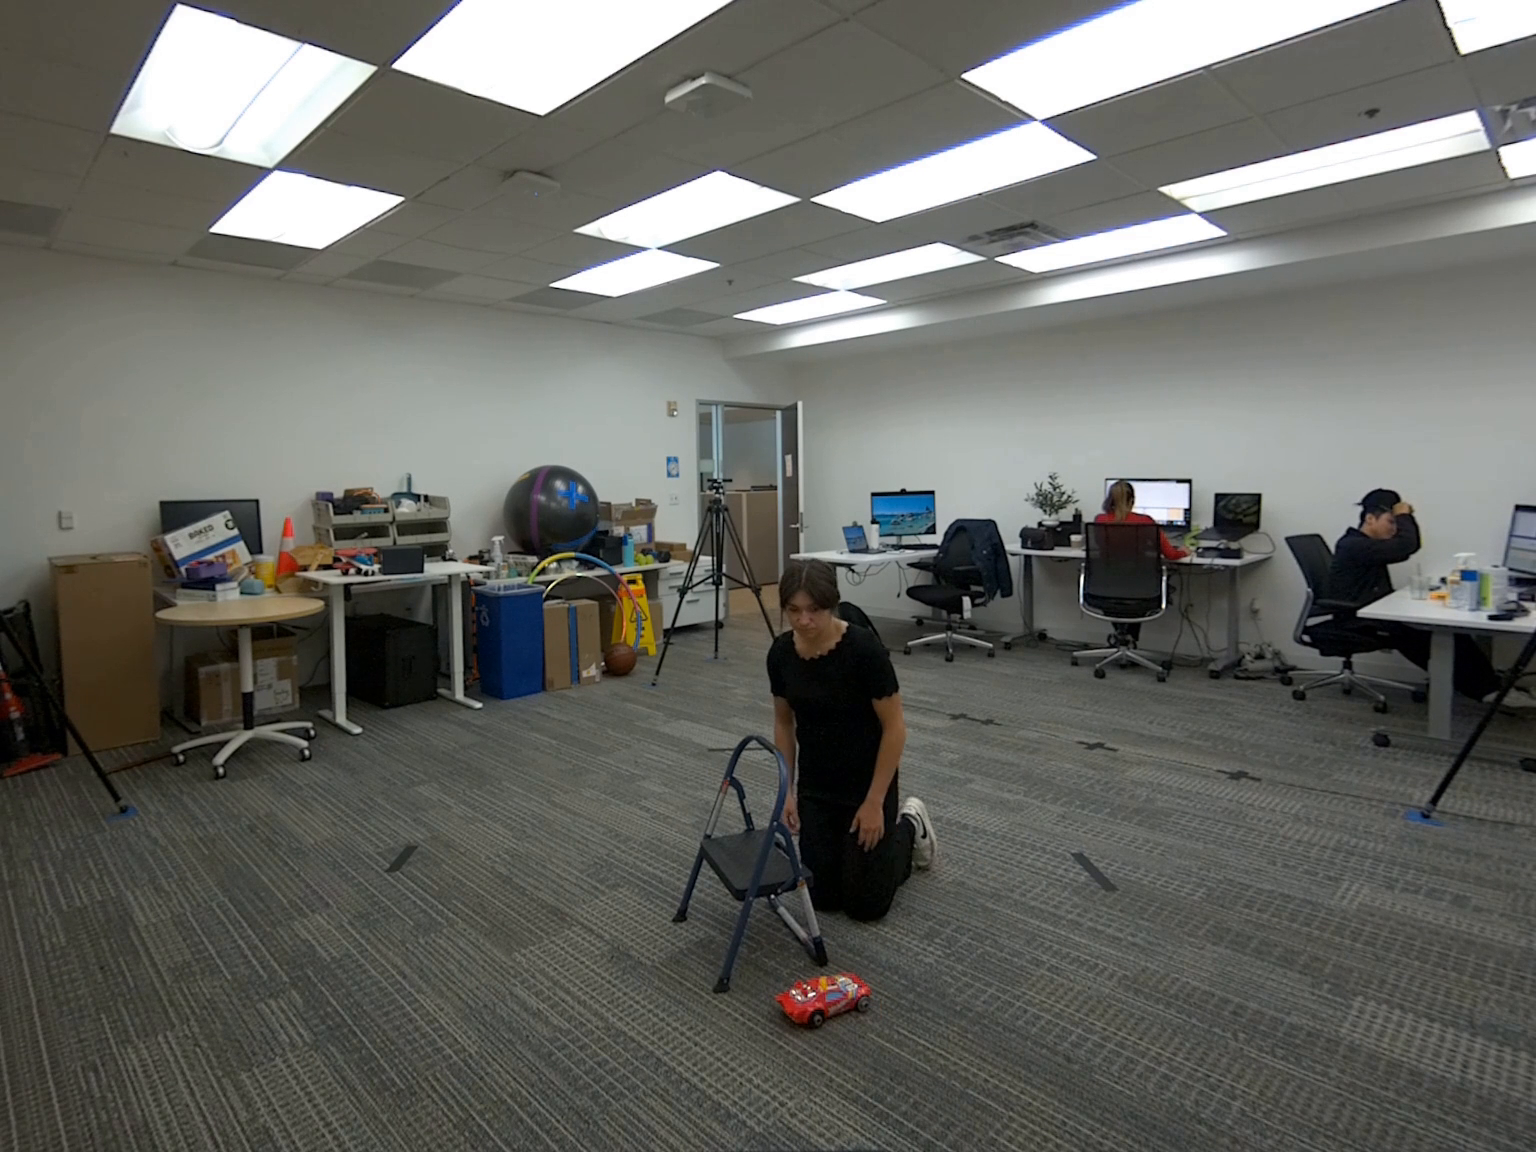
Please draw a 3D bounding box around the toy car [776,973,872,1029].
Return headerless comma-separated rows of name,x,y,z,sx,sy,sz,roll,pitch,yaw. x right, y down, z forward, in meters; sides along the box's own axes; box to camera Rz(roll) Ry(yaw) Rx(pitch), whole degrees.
toy car,0.152,1.119,2.236,0.248,0.083,0.134,7,5,-27
